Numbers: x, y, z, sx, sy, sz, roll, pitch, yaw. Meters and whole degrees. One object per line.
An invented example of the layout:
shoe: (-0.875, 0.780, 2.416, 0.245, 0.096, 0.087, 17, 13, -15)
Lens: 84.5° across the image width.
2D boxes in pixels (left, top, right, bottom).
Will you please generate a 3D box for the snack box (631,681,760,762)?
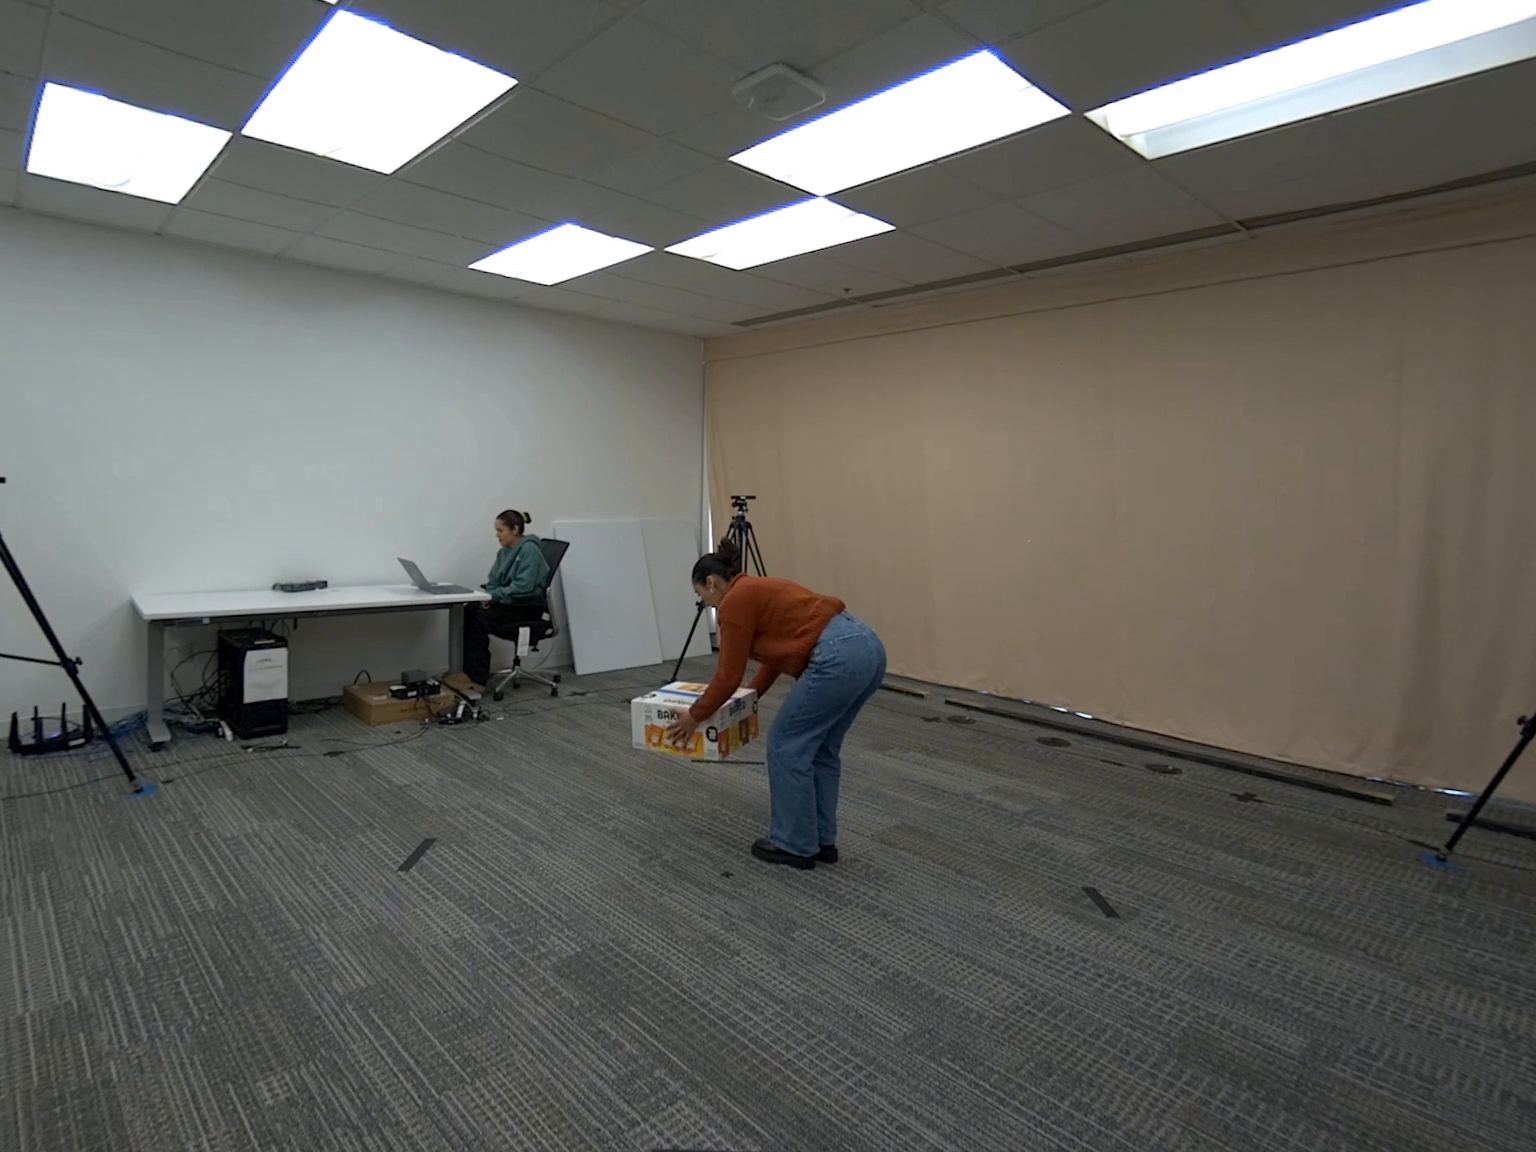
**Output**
snack box: (-0.301, 0.596, 3.489, 0.413, 0.205, 0.335, 1, 6, 28)
